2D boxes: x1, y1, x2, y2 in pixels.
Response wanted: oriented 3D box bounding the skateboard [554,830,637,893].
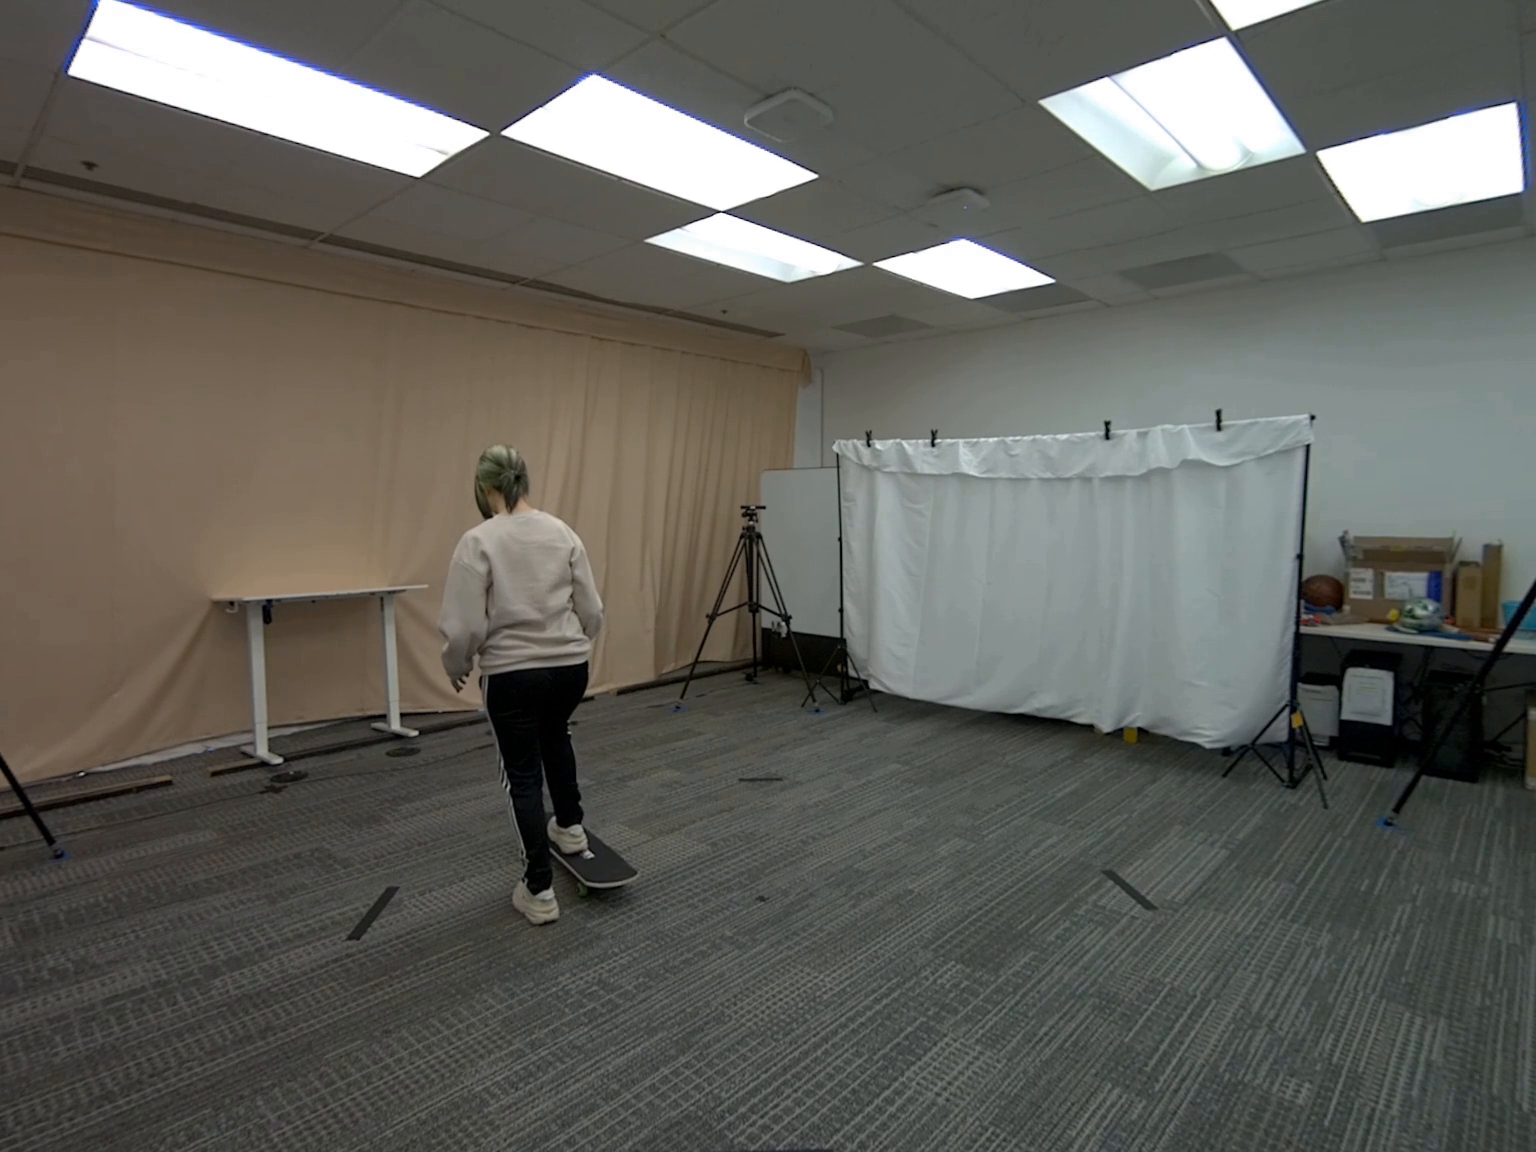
[{"bbox_3d":[-0.712,1.075,3.211,0.188,0.110,0.810,-5,6,-34],"label":"skateboard"}]
